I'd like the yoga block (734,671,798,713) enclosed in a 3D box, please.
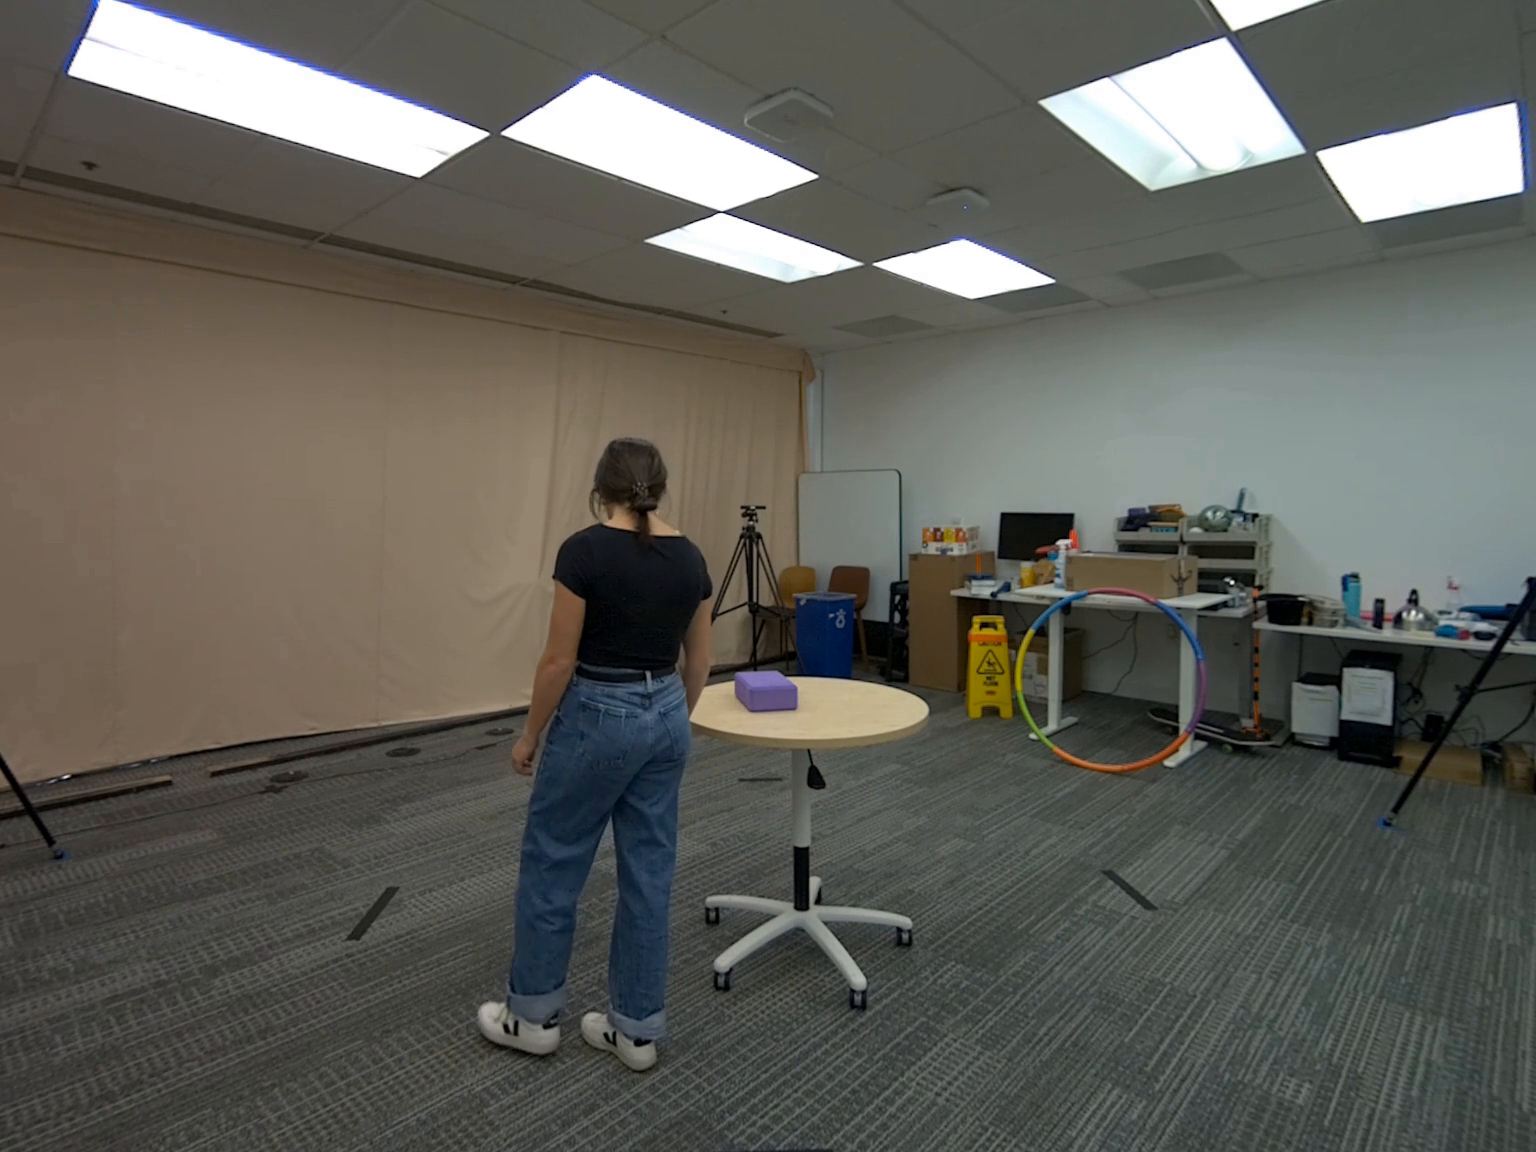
[{"bbox_3d":[0.002,0.359,2.597,0.147,0.076,0.233,-1,6,-12],"label":"yoga block"}]
